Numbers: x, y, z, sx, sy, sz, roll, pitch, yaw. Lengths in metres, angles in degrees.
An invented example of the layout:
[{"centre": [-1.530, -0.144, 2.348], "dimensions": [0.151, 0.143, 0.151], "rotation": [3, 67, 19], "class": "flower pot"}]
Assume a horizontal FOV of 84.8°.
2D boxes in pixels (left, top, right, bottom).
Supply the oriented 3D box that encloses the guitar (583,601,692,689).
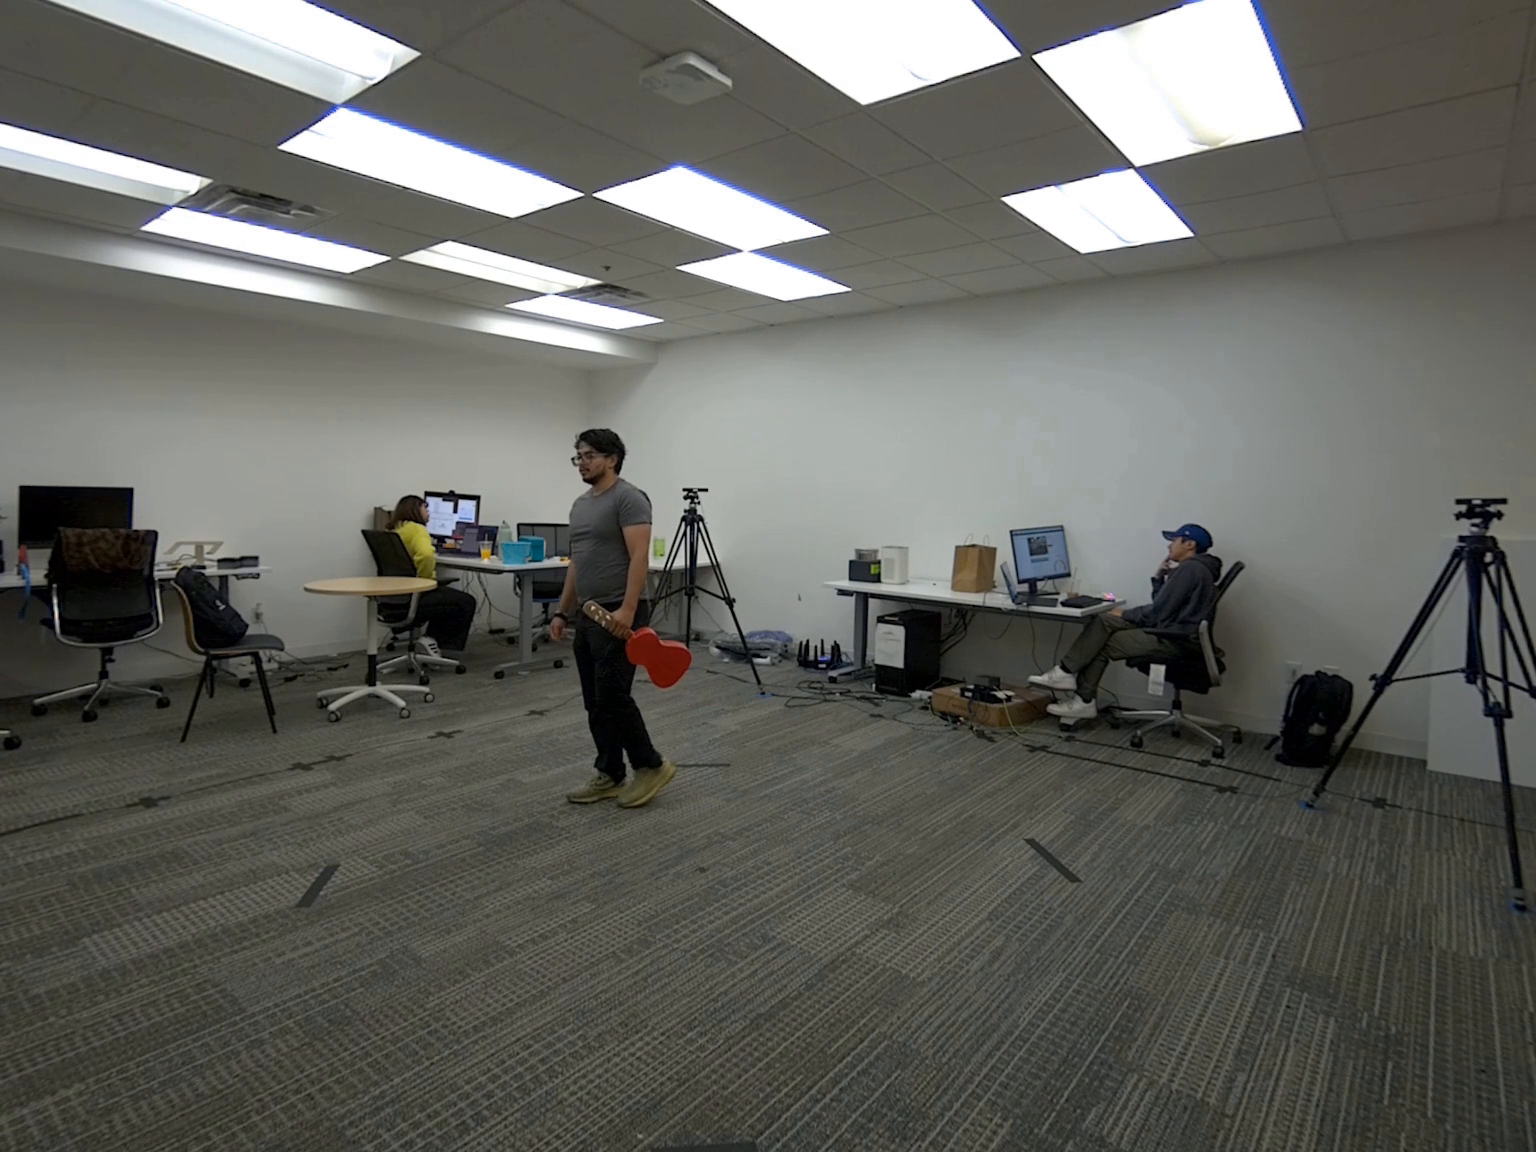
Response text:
[{"centre": [-0.571, 0.279, 3.439], "dimensions": [0.485, 0.192, 0.073], "rotation": [30, 8, -19], "class": "guitar"}]
